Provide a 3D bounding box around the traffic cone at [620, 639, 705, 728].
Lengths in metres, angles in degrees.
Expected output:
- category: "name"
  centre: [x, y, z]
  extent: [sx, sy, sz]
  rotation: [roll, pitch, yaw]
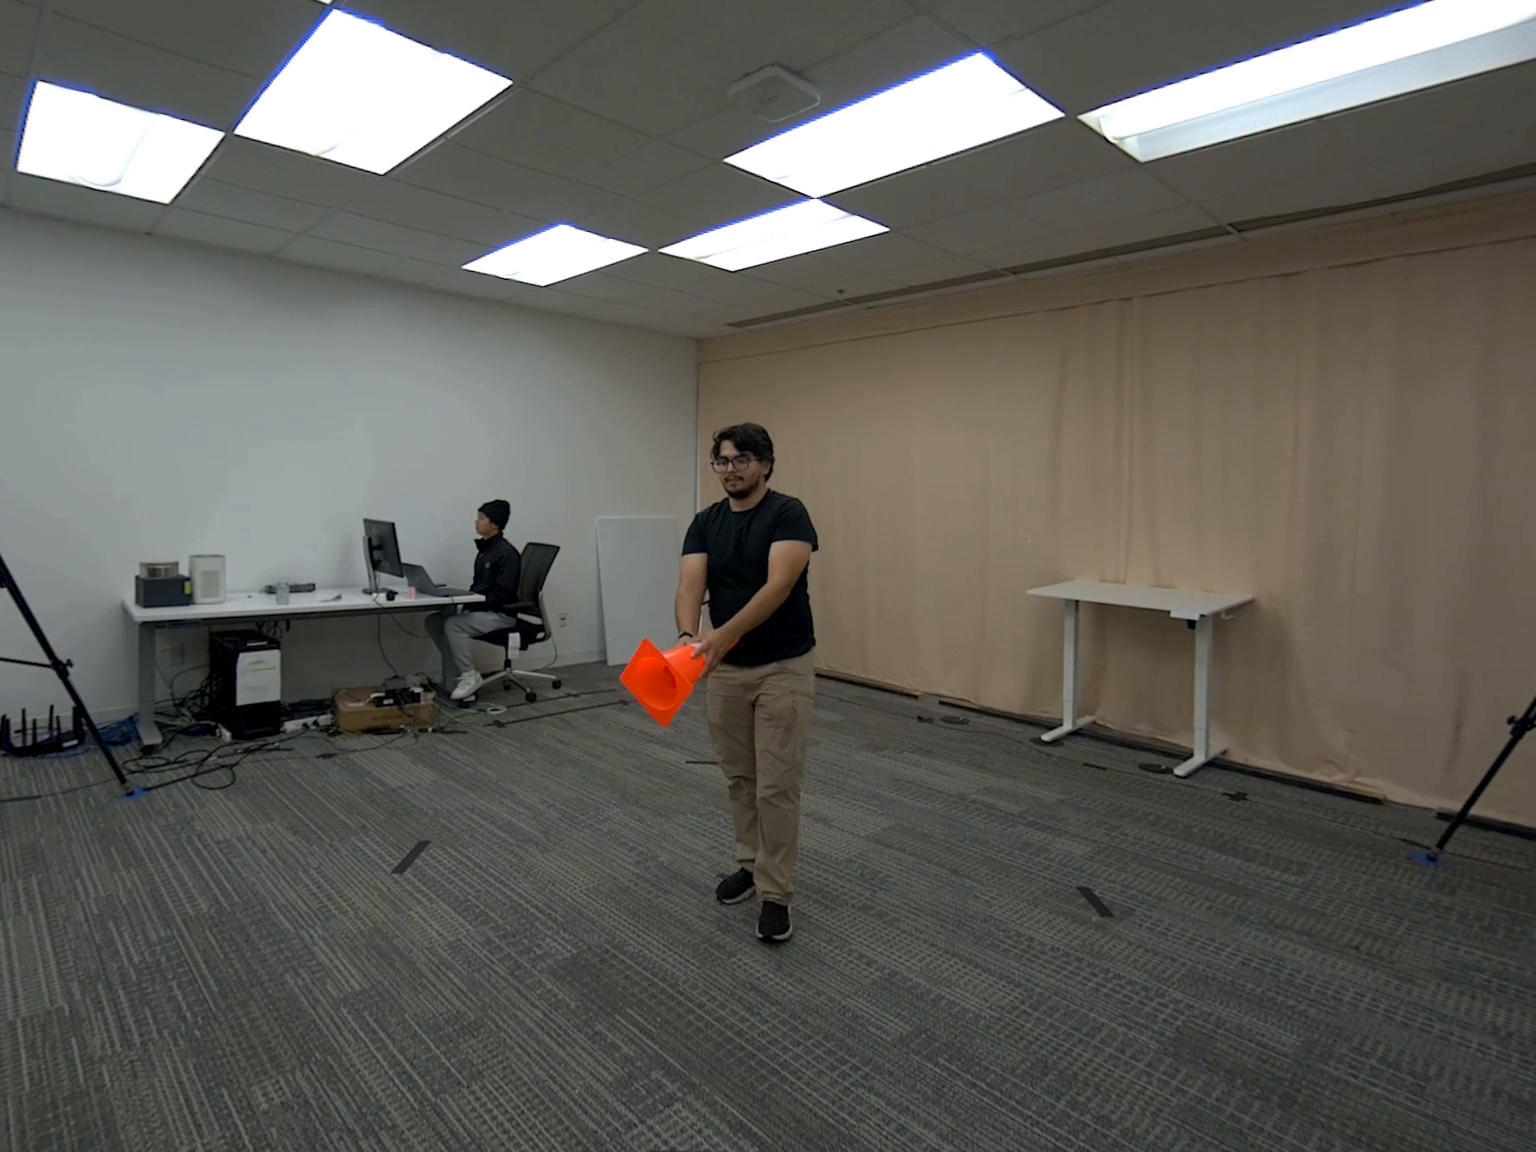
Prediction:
- category: "traffic cone"
  centre: [-0.219, 0.255, 2.471]
  extent: [0.209, 0.202, 0.379]
  rotation: [44, 34, 16]
